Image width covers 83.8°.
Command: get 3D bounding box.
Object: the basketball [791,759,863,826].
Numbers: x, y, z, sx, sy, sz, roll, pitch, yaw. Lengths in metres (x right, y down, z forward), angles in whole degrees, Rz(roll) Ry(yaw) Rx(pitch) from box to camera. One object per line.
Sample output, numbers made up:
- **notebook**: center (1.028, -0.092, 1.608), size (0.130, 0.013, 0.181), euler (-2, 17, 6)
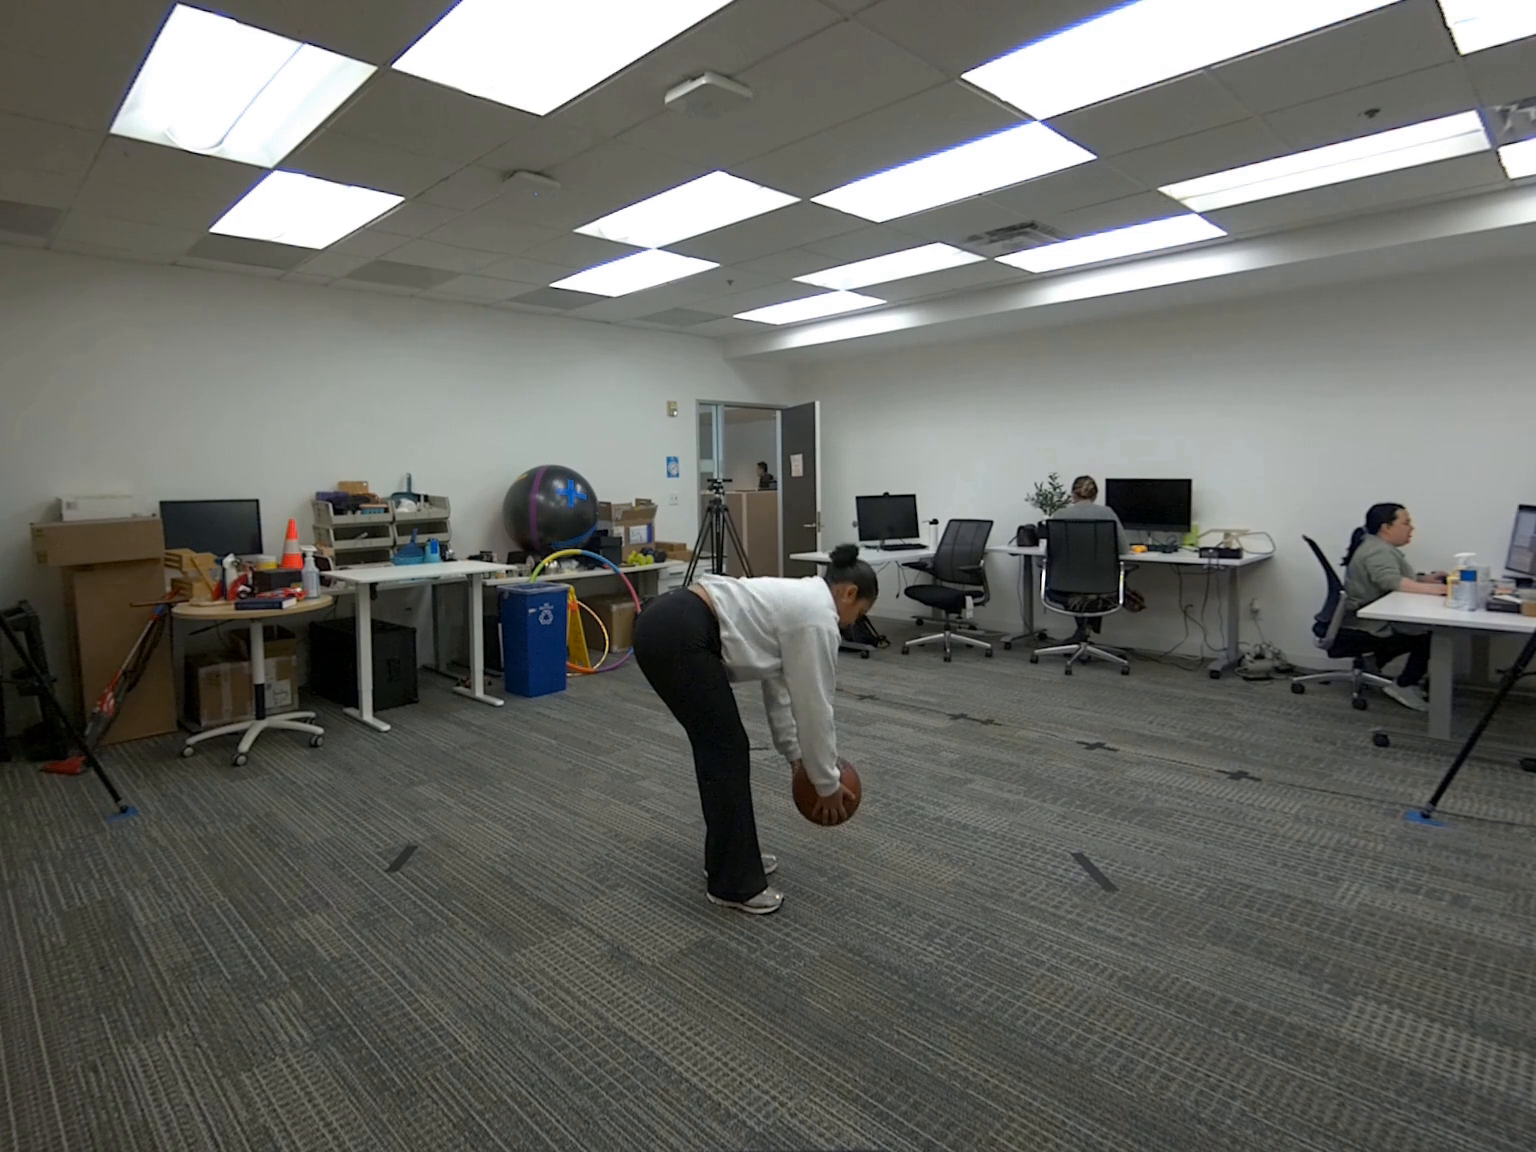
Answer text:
- **basketball**: center (0.202, 0.717, 2.935), size (0.236, 0.235, 0.237), euler (-1, 5, -2)
